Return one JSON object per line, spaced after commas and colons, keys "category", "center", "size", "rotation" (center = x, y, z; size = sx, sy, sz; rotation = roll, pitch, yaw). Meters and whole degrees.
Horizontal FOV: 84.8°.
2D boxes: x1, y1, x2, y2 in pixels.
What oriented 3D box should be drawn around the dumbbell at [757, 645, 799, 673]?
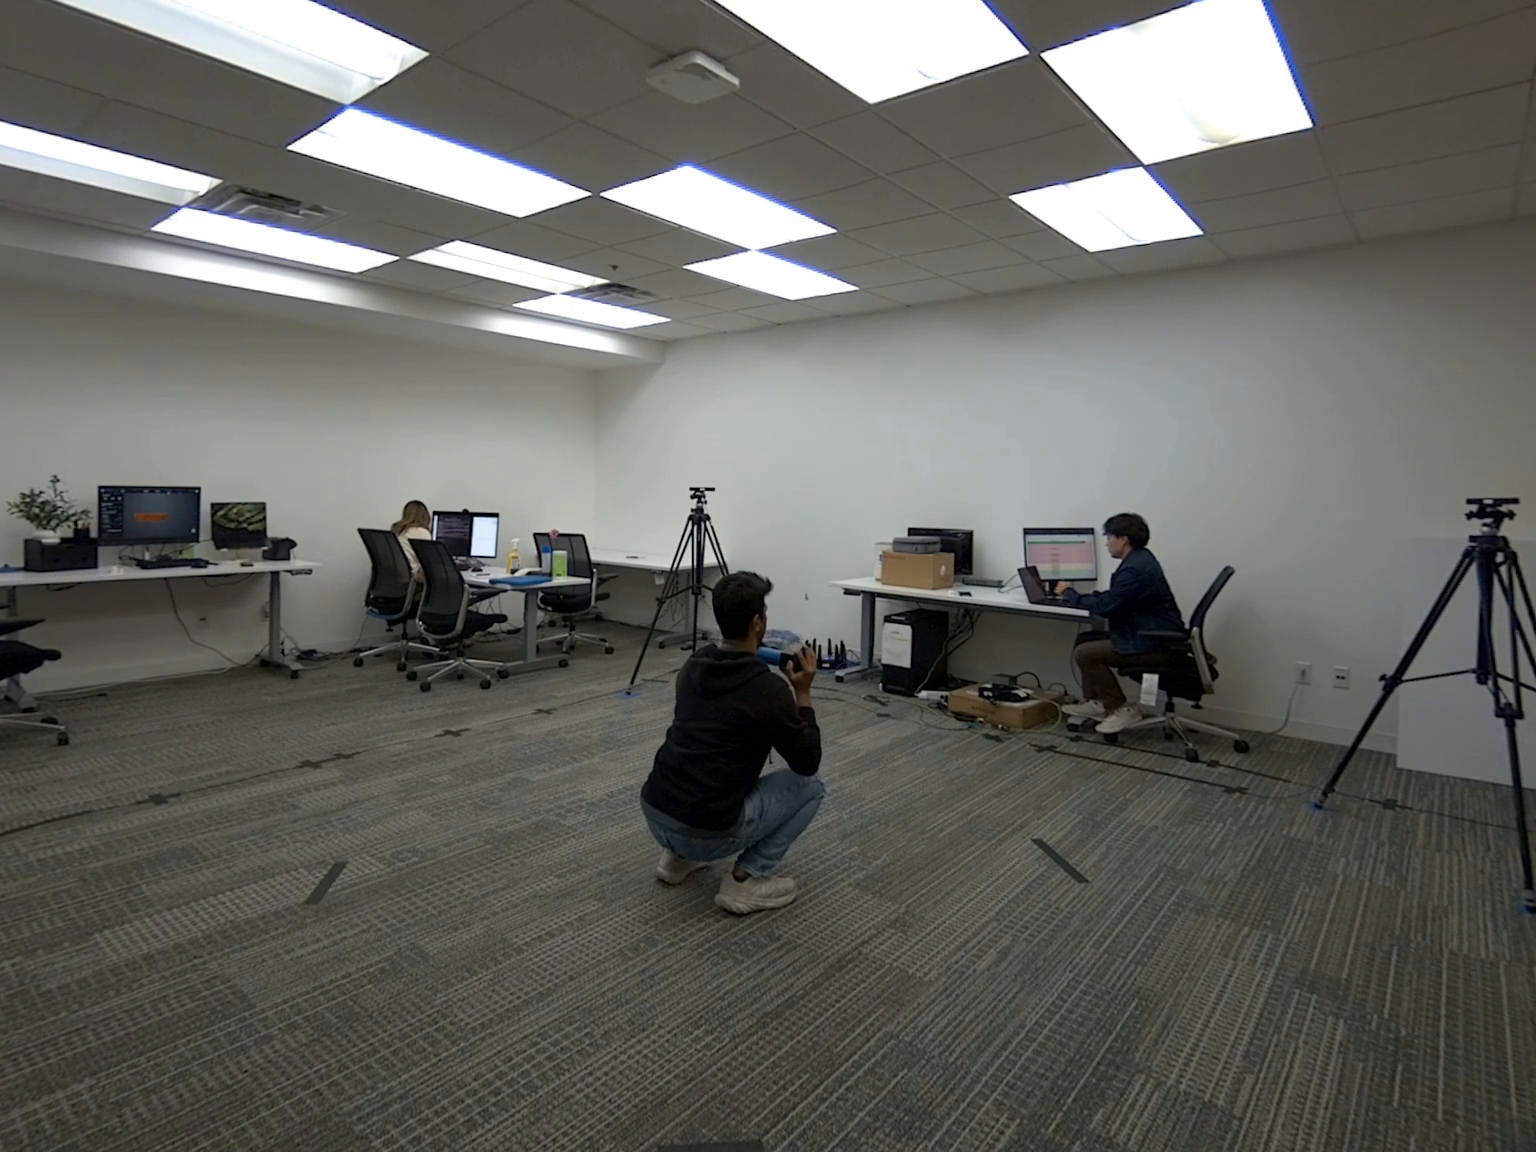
{"category": "dumbbell", "center": [0.010, 0.279, 3.132], "size": [0.304, 0.123, 0.105], "rotation": [6, 3, 43]}
